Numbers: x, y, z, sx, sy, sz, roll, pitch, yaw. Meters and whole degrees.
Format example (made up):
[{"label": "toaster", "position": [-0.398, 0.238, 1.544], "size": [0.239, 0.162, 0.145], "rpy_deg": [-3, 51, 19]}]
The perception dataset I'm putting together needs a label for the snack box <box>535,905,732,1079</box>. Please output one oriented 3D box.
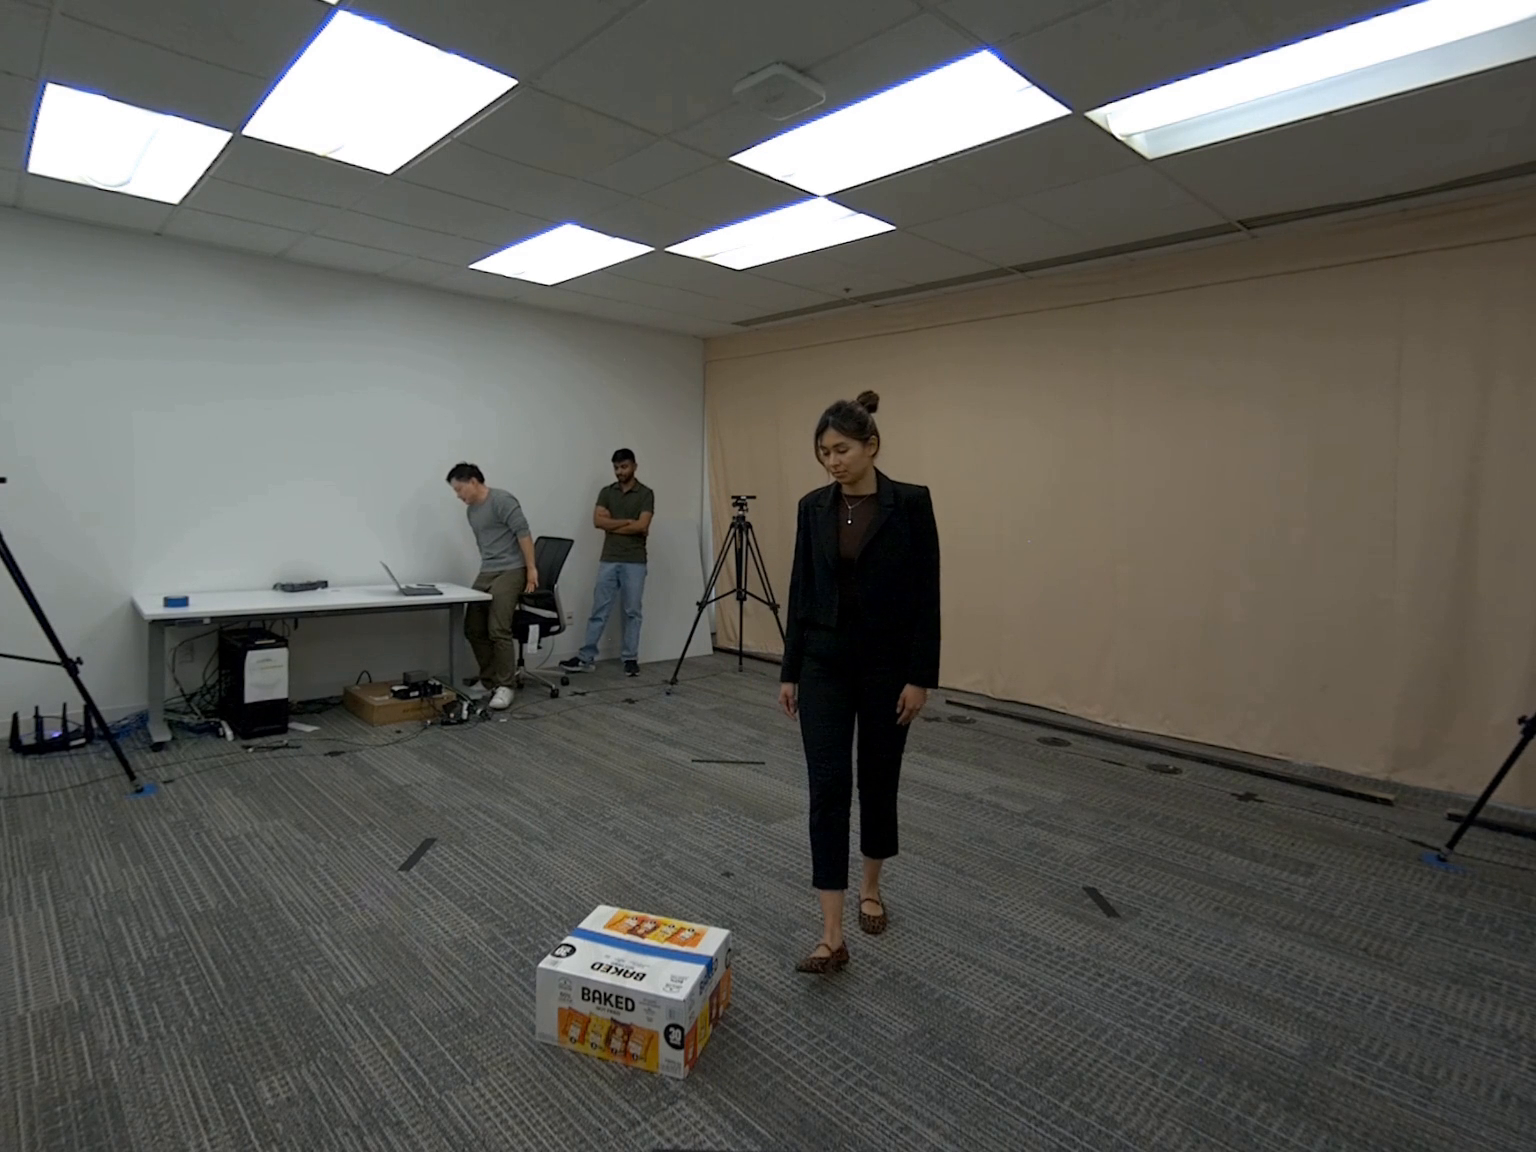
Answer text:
[{"label": "snack box", "position": [-0.349, 1.082, 2.208], "size": [0.411, 0.205, 0.336], "rpy_deg": [3, 5, 18]}]
